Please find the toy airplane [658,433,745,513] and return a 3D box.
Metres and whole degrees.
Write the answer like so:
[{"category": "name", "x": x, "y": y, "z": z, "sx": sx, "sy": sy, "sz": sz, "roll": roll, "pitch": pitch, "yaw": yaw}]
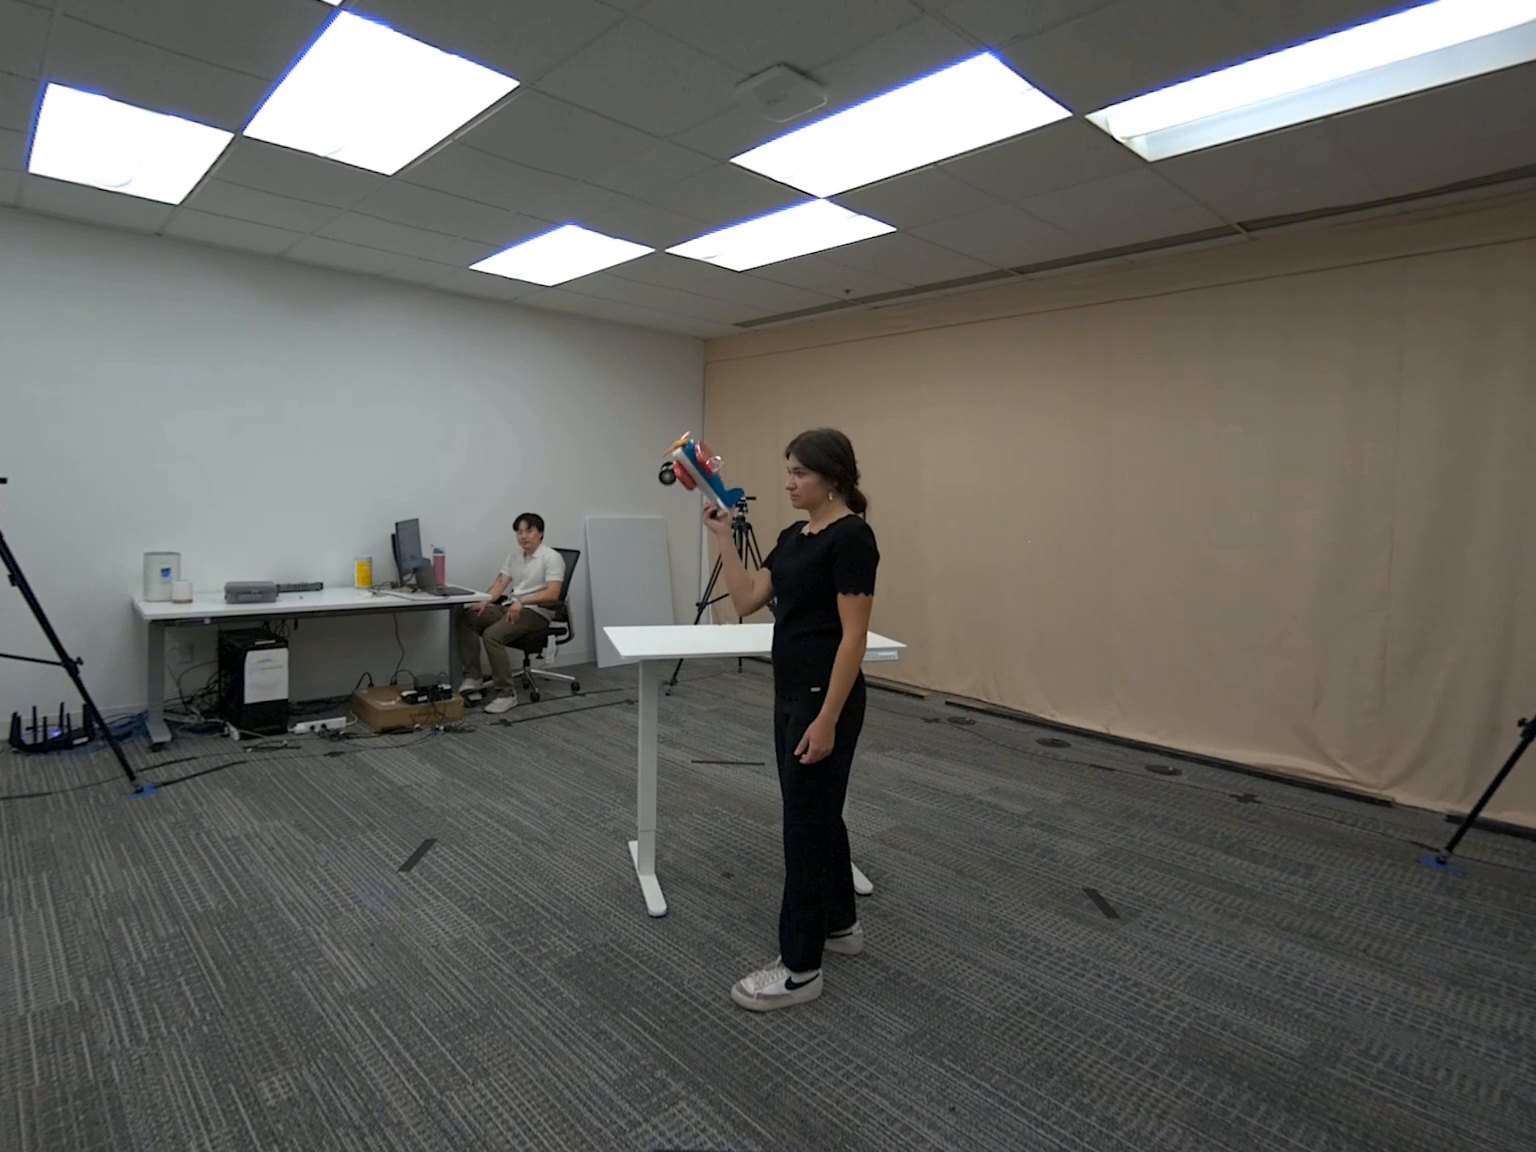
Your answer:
[{"category": "toy airplane", "x": -0.208, "y": -0.286, "z": 2.550, "sx": 0.251, "sy": 0.156, "sz": 0.259, "roll": 30, "pitch": 16, "yaw": -38}]
